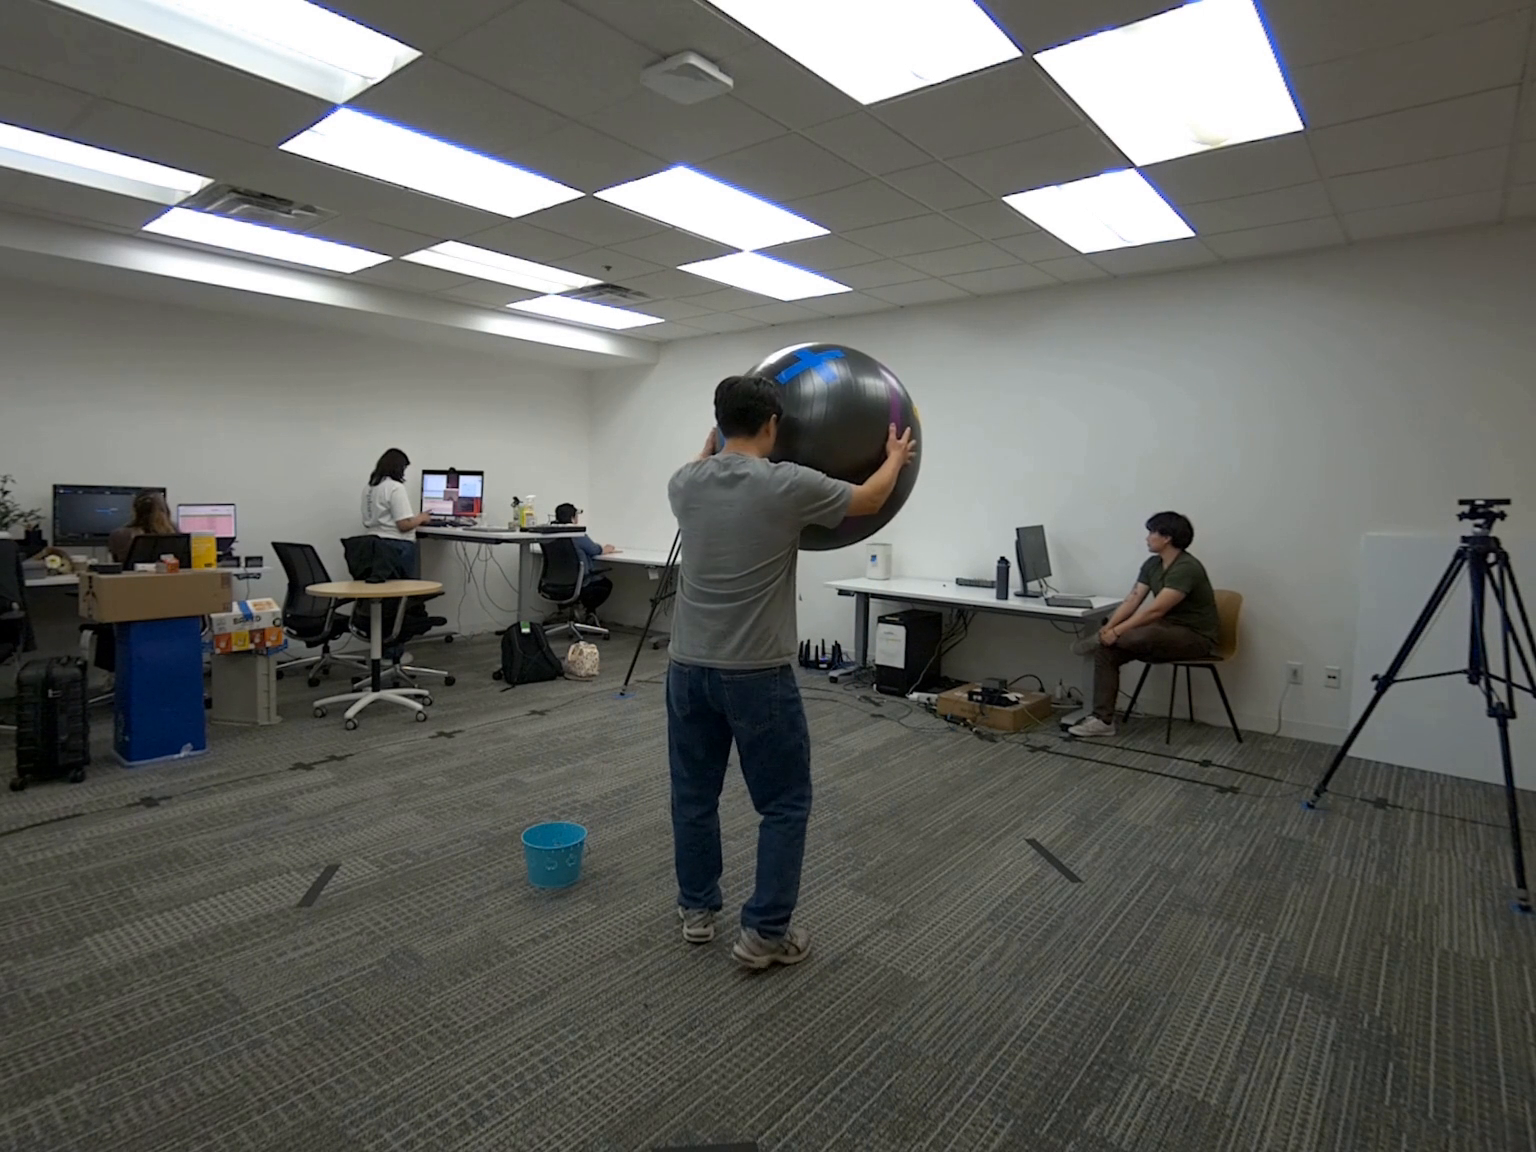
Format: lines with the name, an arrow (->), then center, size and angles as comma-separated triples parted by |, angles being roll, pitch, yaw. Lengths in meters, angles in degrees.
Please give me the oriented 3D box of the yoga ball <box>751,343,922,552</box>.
yoga ball -> 0.172, -0.440, 3.135 | 0.757, 0.755, 0.762 | 1, 4, -2
